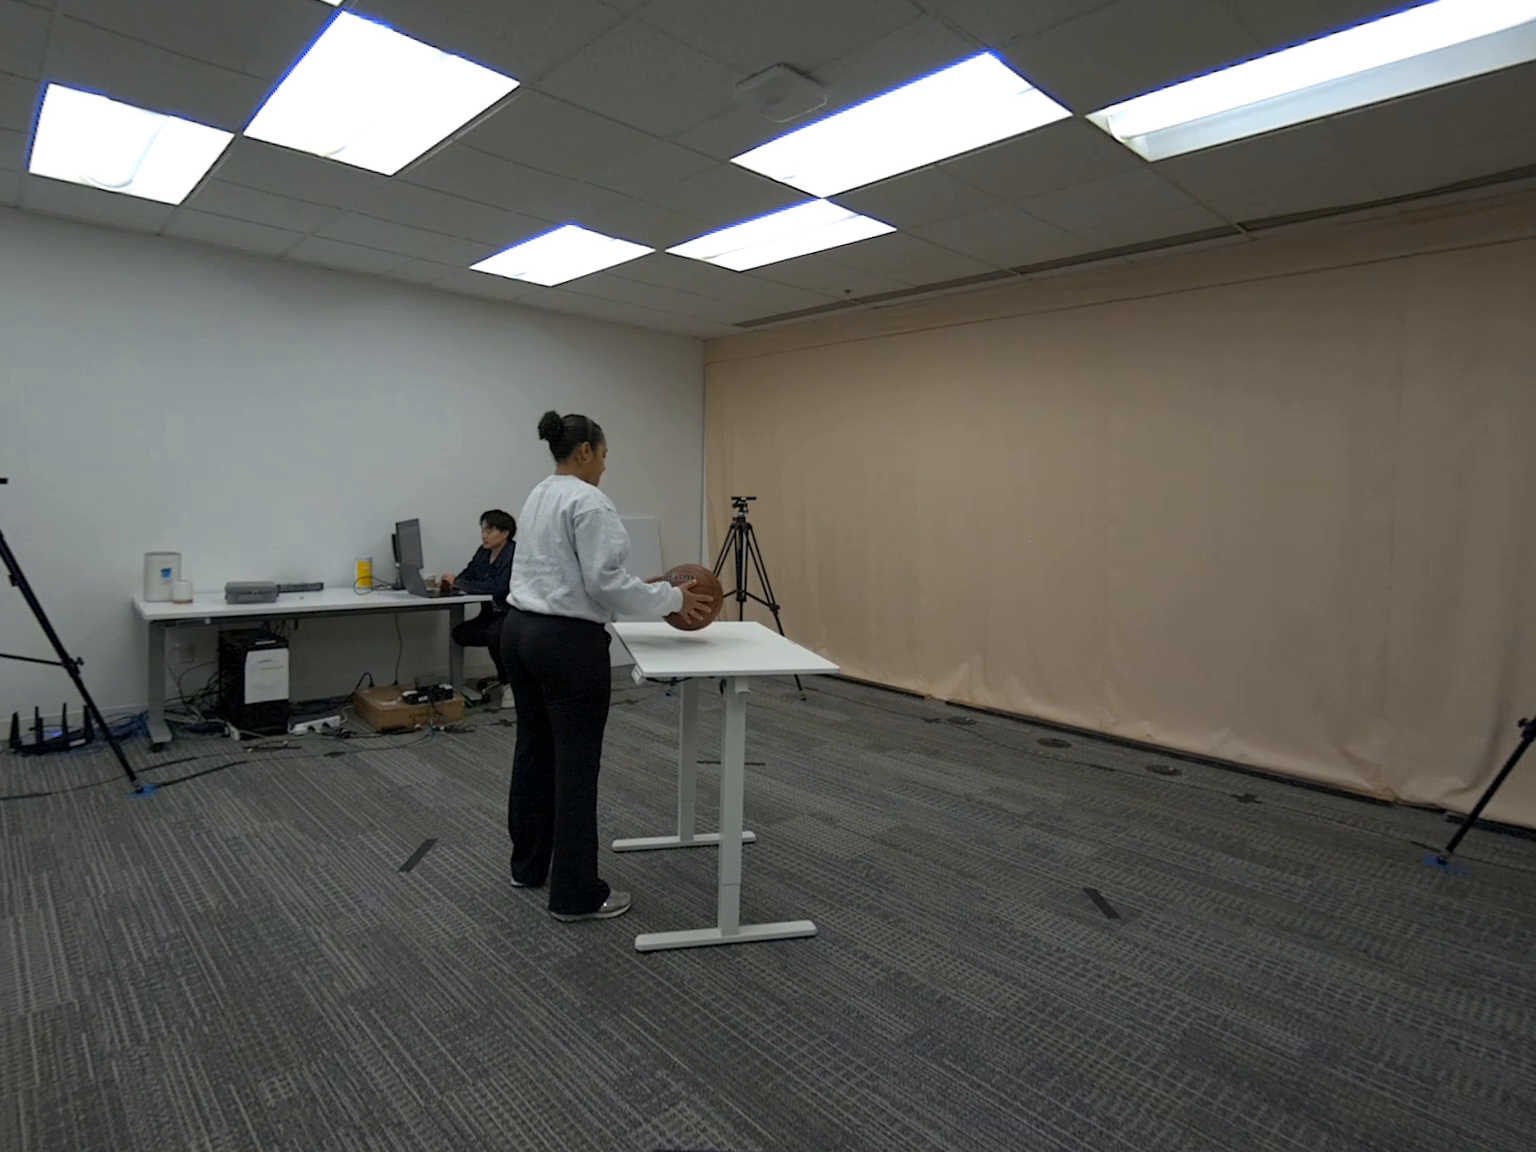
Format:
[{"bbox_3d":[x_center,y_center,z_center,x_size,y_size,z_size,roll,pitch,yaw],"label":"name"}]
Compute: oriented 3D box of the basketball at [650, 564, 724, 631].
[{"bbox_3d":[-0.293,0.070,2.983,0.236,0.235,0.237,1,4,-1],"label":"basketball"}]
